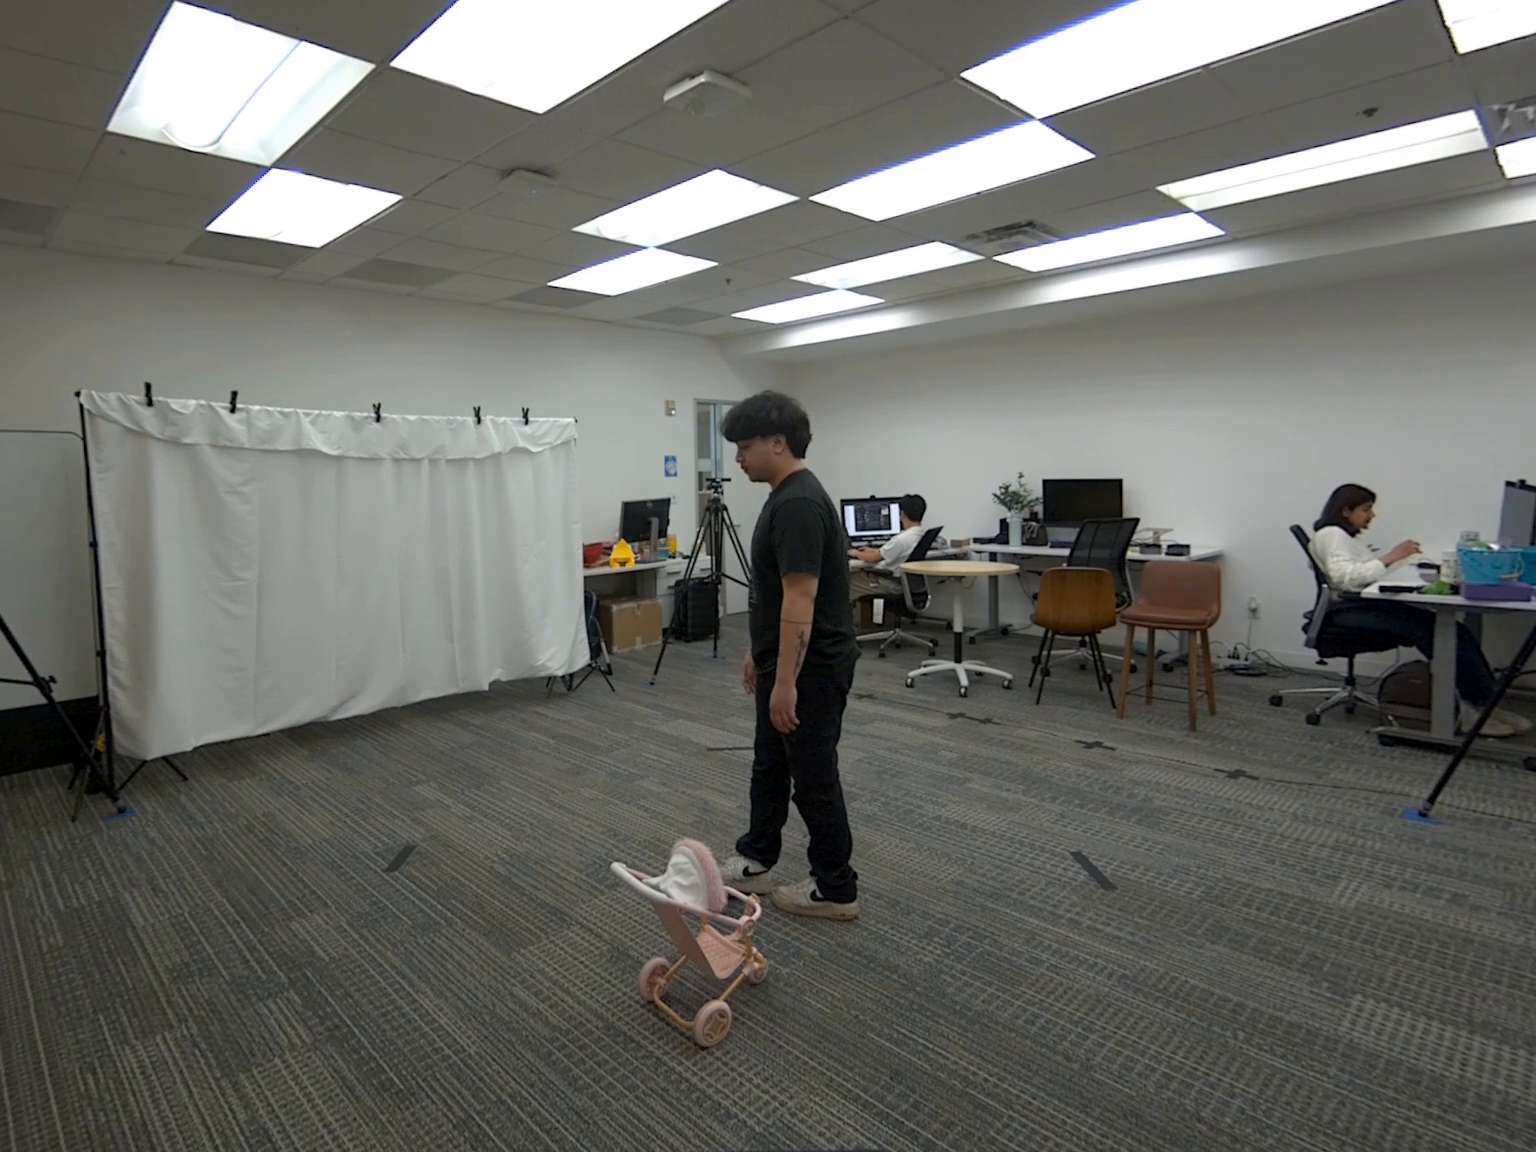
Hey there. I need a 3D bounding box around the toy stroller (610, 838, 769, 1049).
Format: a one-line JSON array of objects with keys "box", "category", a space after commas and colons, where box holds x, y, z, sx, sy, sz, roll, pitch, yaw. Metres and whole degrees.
[{"box": [-0.167, 0.925, 2.237, 0.336, 0.527, 0.290, -23, 16, -33], "category": "toy stroller"}]
